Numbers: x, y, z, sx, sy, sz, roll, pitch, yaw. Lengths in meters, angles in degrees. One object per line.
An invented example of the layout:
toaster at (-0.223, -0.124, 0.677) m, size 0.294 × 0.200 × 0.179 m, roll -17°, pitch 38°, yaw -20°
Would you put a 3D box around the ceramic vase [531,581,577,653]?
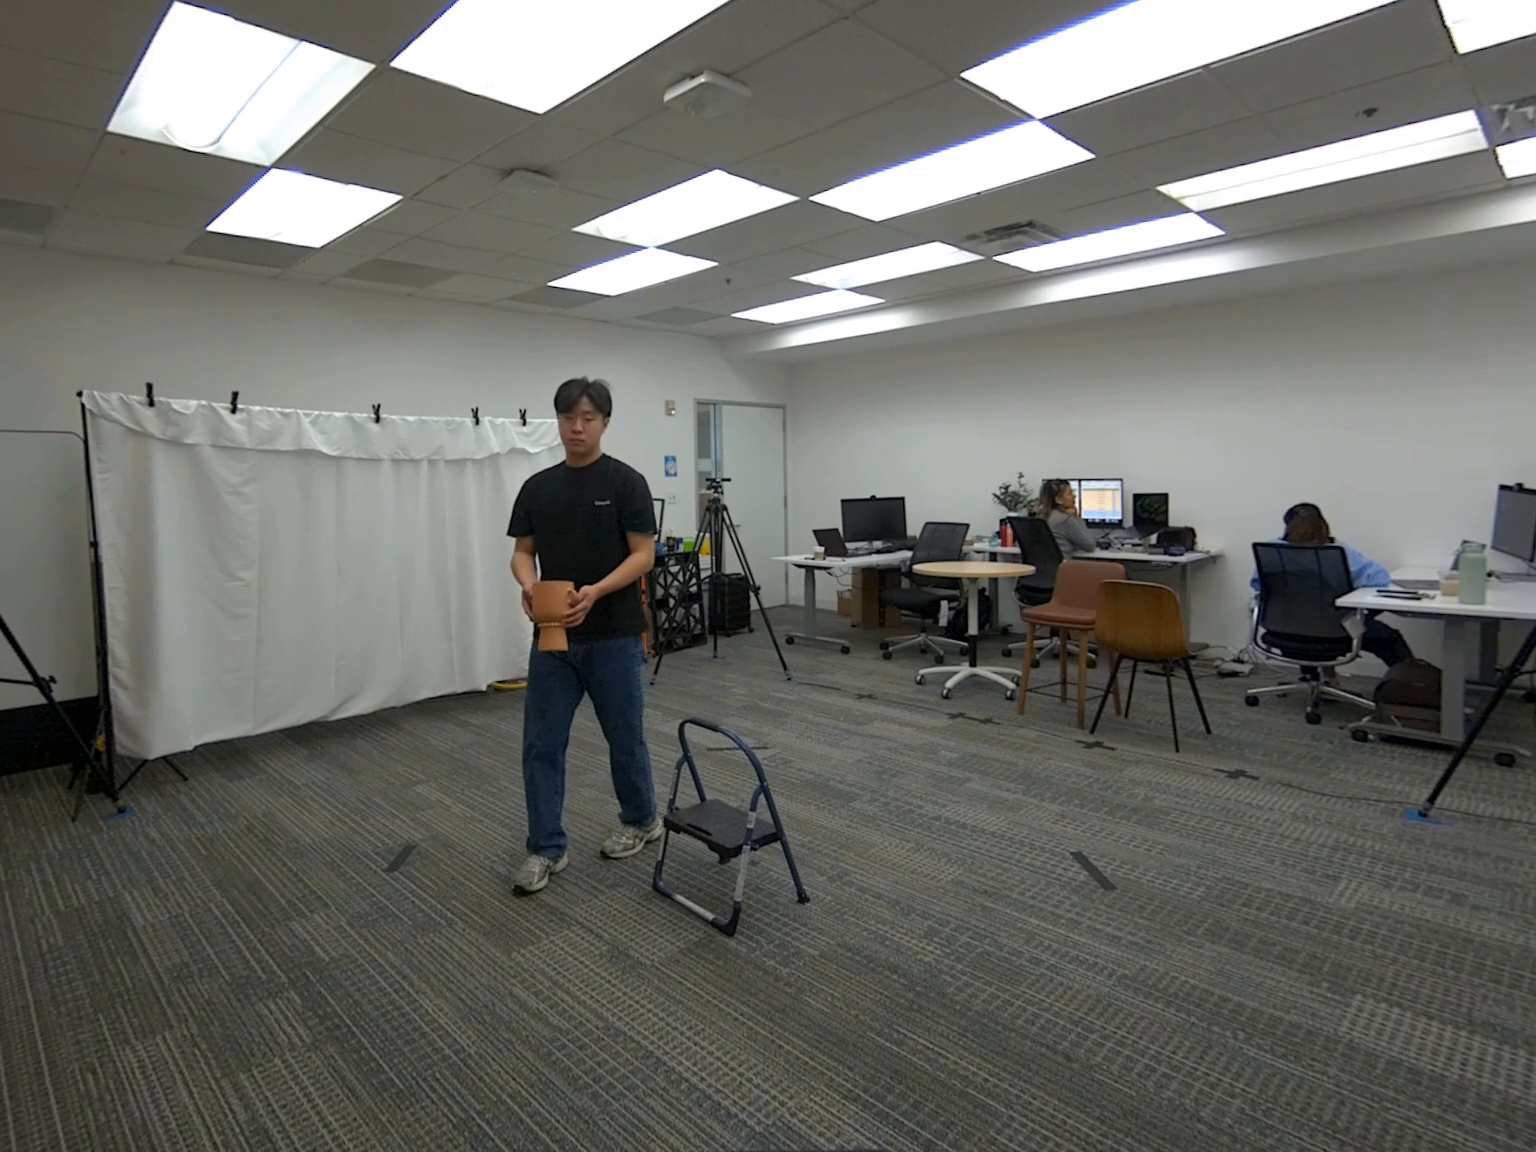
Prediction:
ceramic vase at (-0.708, 0.134, 2.782) m, size 0.131 × 0.221 × 0.161 m, roll 1°, pitch -7°, yaw -28°
